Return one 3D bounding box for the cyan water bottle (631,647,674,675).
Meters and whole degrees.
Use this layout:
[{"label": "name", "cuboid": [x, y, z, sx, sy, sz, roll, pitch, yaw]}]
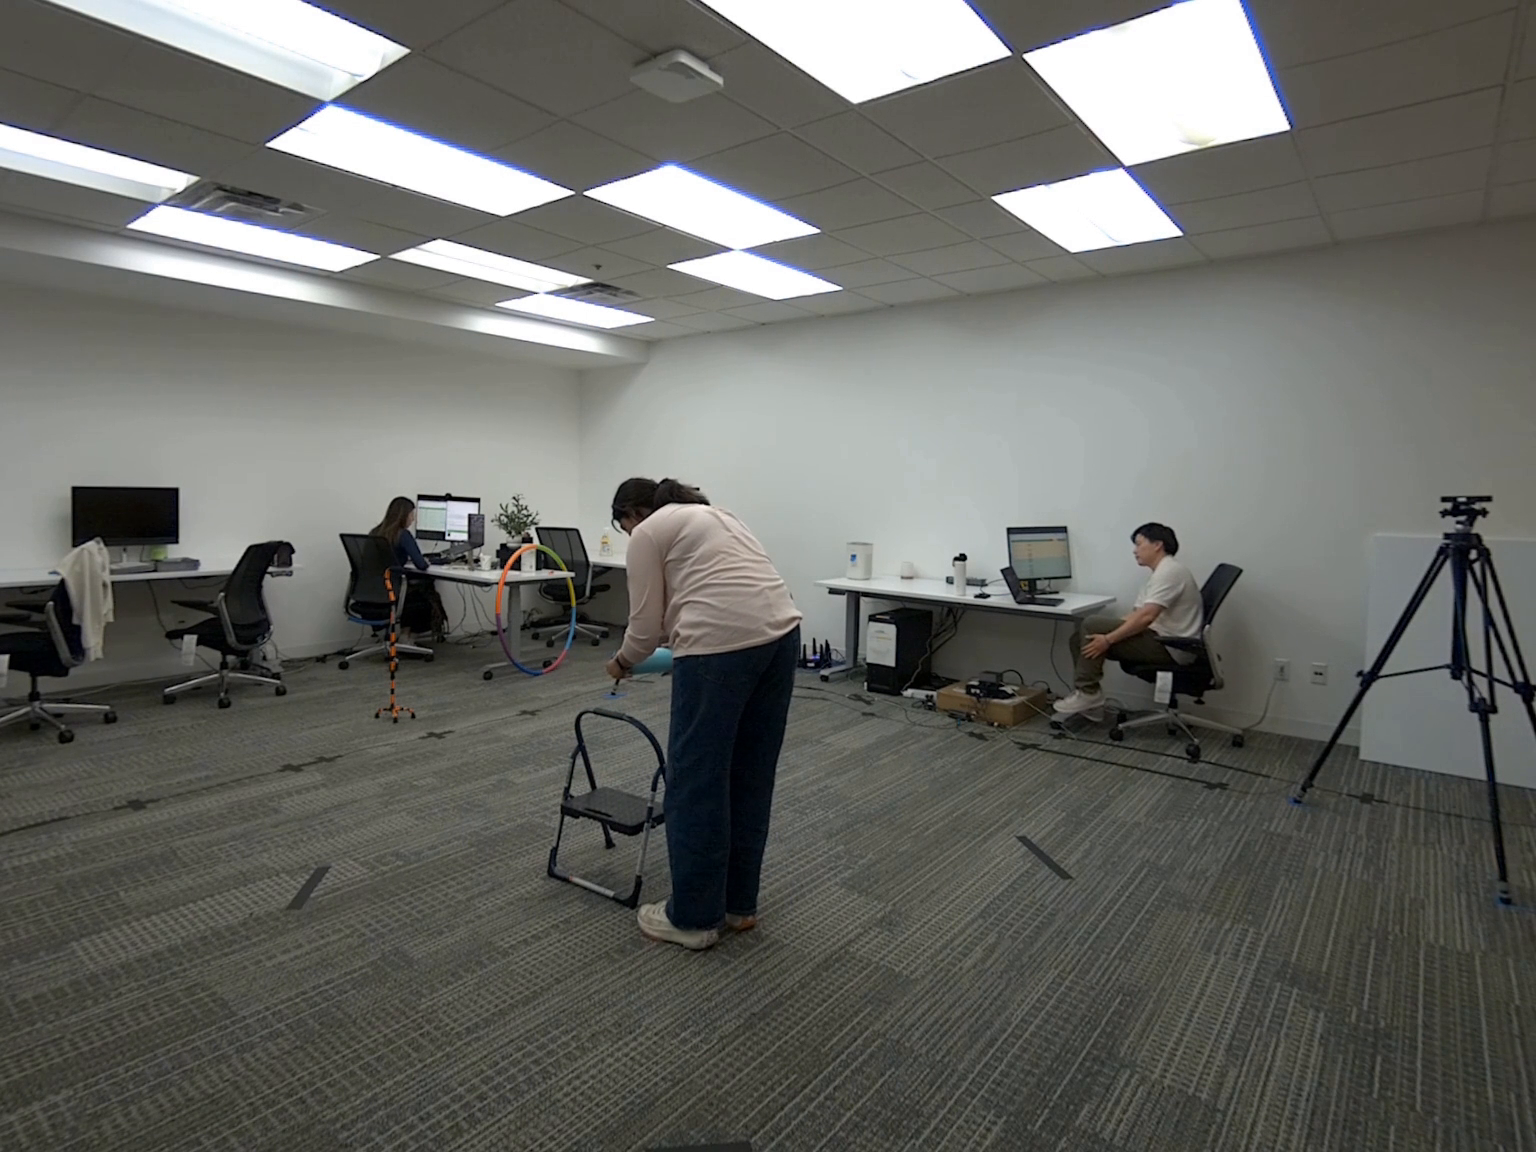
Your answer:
[{"label": "cyan water bottle", "cuboid": [-0.454, 0.304, 3.051, 0.095, 0.092, 0.274, 4, 2, 41]}]
